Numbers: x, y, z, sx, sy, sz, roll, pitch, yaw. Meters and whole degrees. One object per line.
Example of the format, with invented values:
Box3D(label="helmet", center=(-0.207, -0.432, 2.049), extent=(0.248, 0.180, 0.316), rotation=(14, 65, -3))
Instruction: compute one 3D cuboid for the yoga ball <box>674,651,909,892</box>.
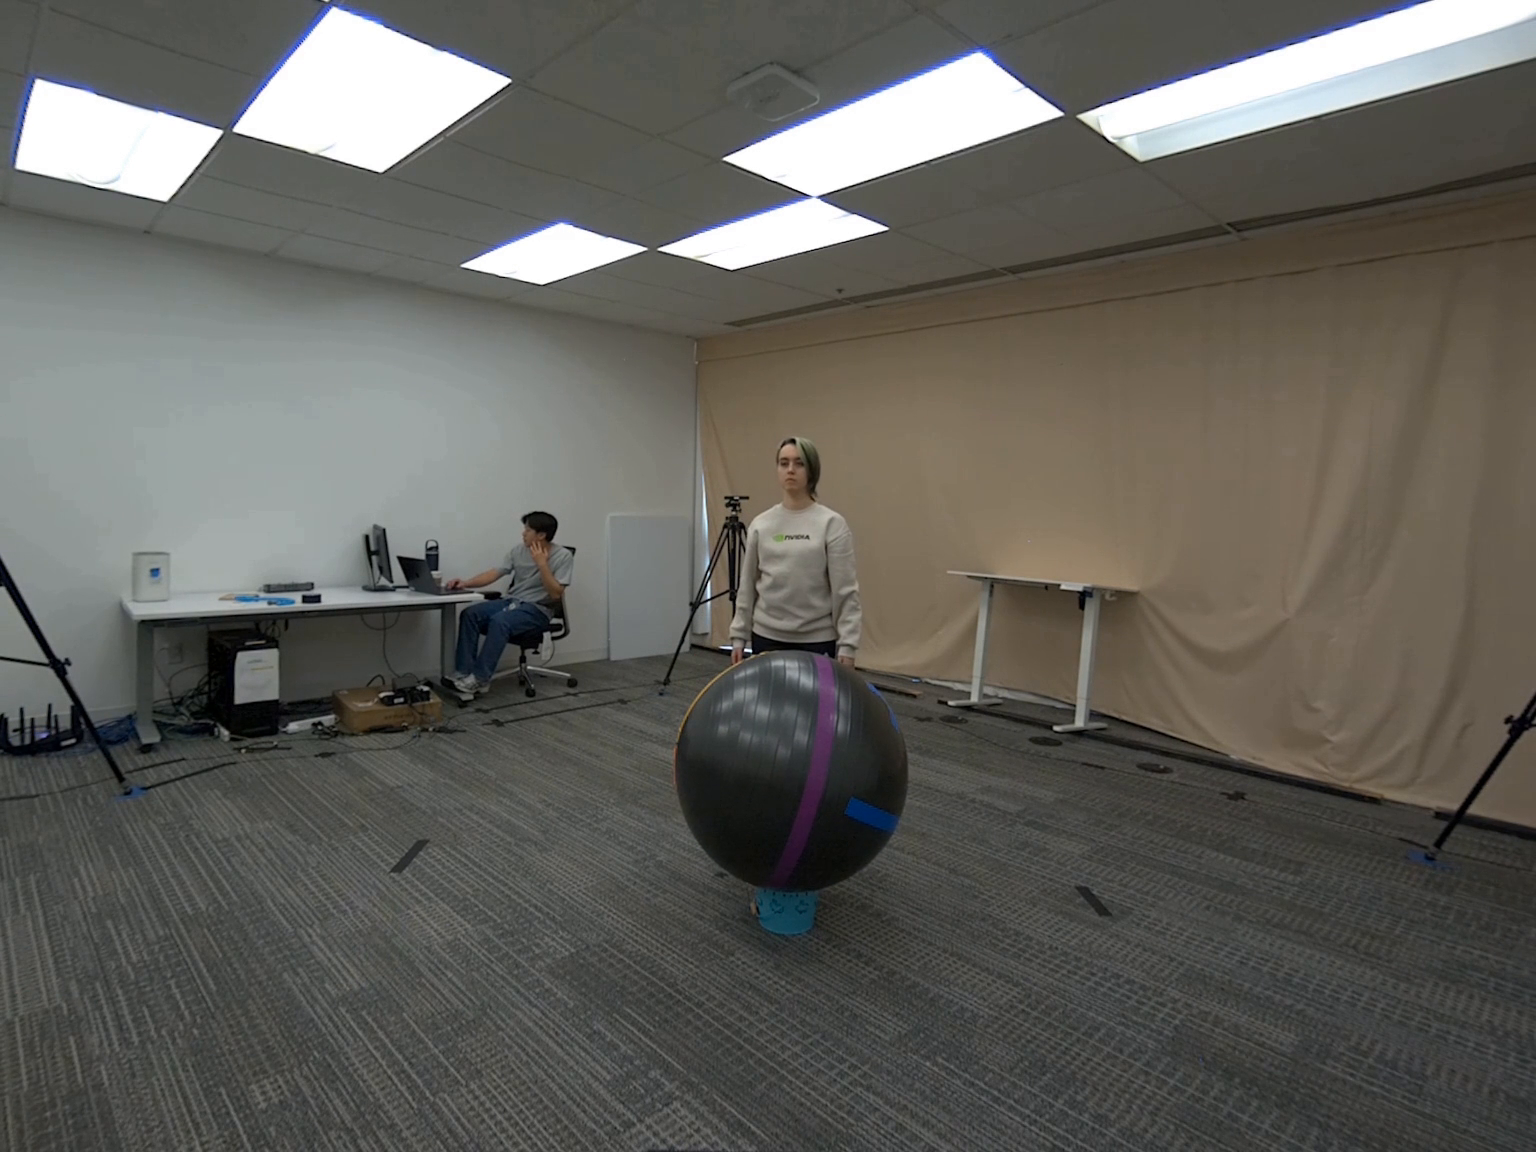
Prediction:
Box3D(label="yoga ball", center=(0.063, 0.630, 2.752), extent=(0.757, 0.756, 0.761), rotation=(1, 4, -1))
